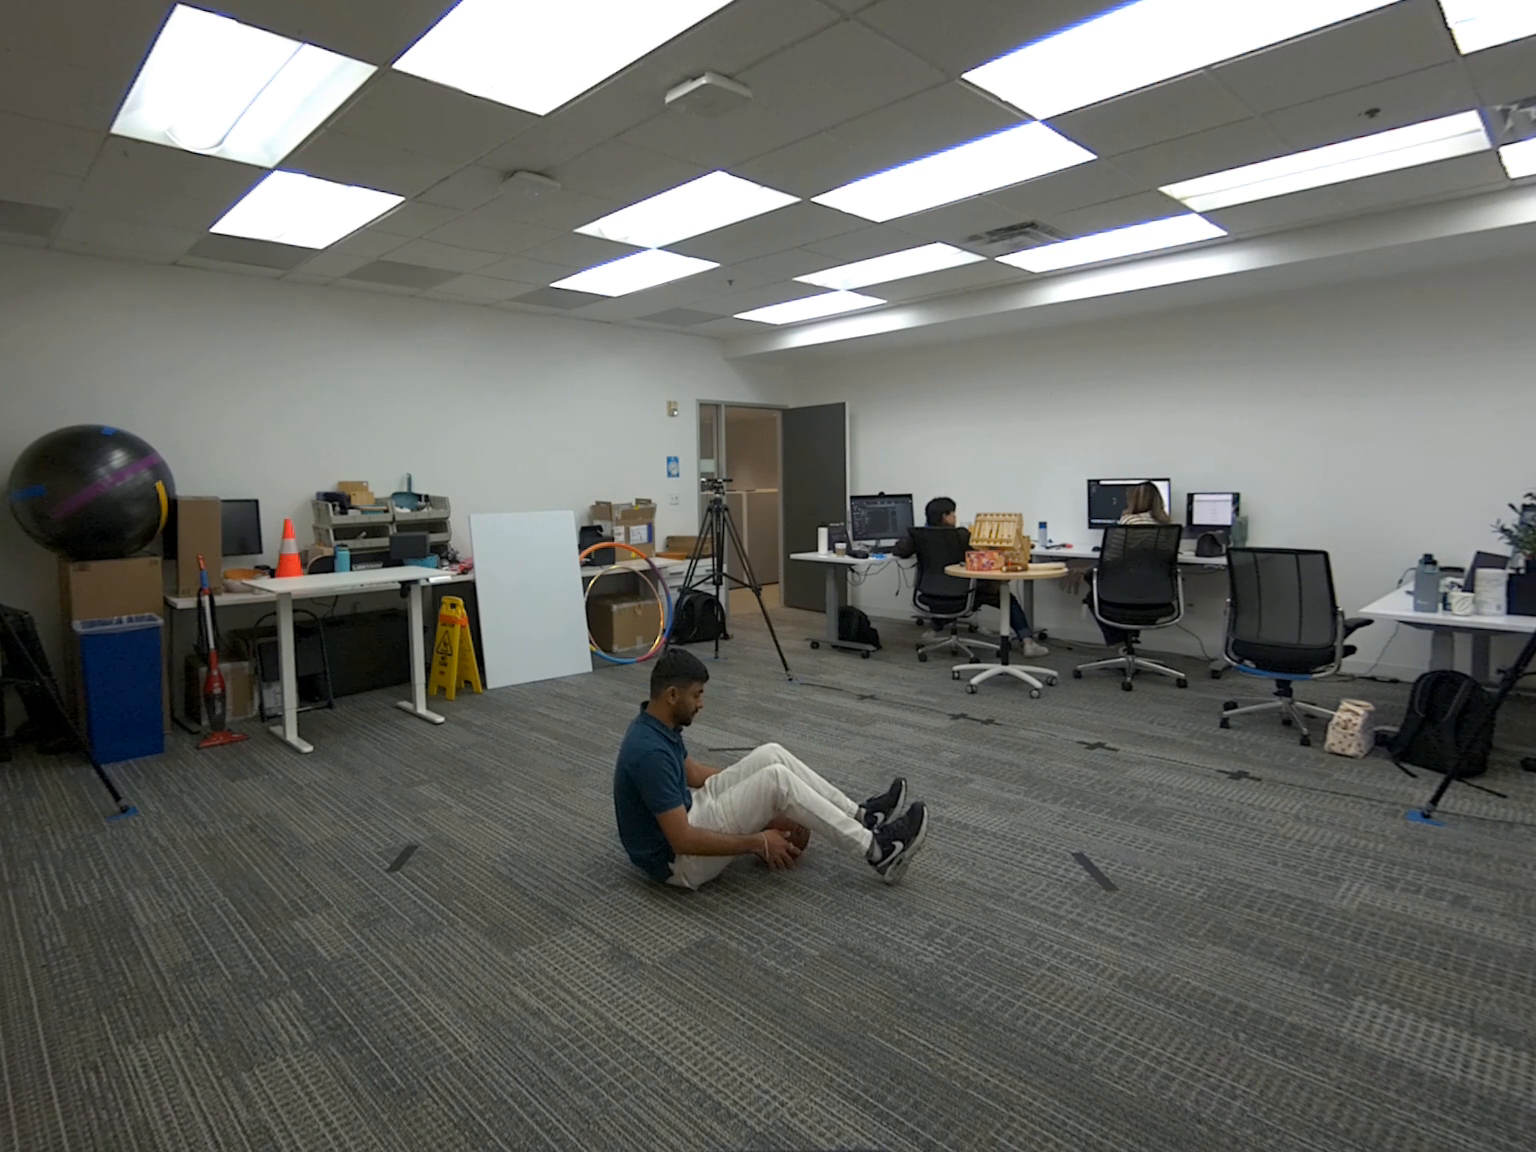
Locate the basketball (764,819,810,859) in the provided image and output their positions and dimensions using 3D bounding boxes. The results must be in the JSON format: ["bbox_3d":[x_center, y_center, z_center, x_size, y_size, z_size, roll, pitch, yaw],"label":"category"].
[{"bbox_3d":[0.038,0.924,3.102,0.236,0.235,0.237,-1,5,-2],"label":"basketball"}]
